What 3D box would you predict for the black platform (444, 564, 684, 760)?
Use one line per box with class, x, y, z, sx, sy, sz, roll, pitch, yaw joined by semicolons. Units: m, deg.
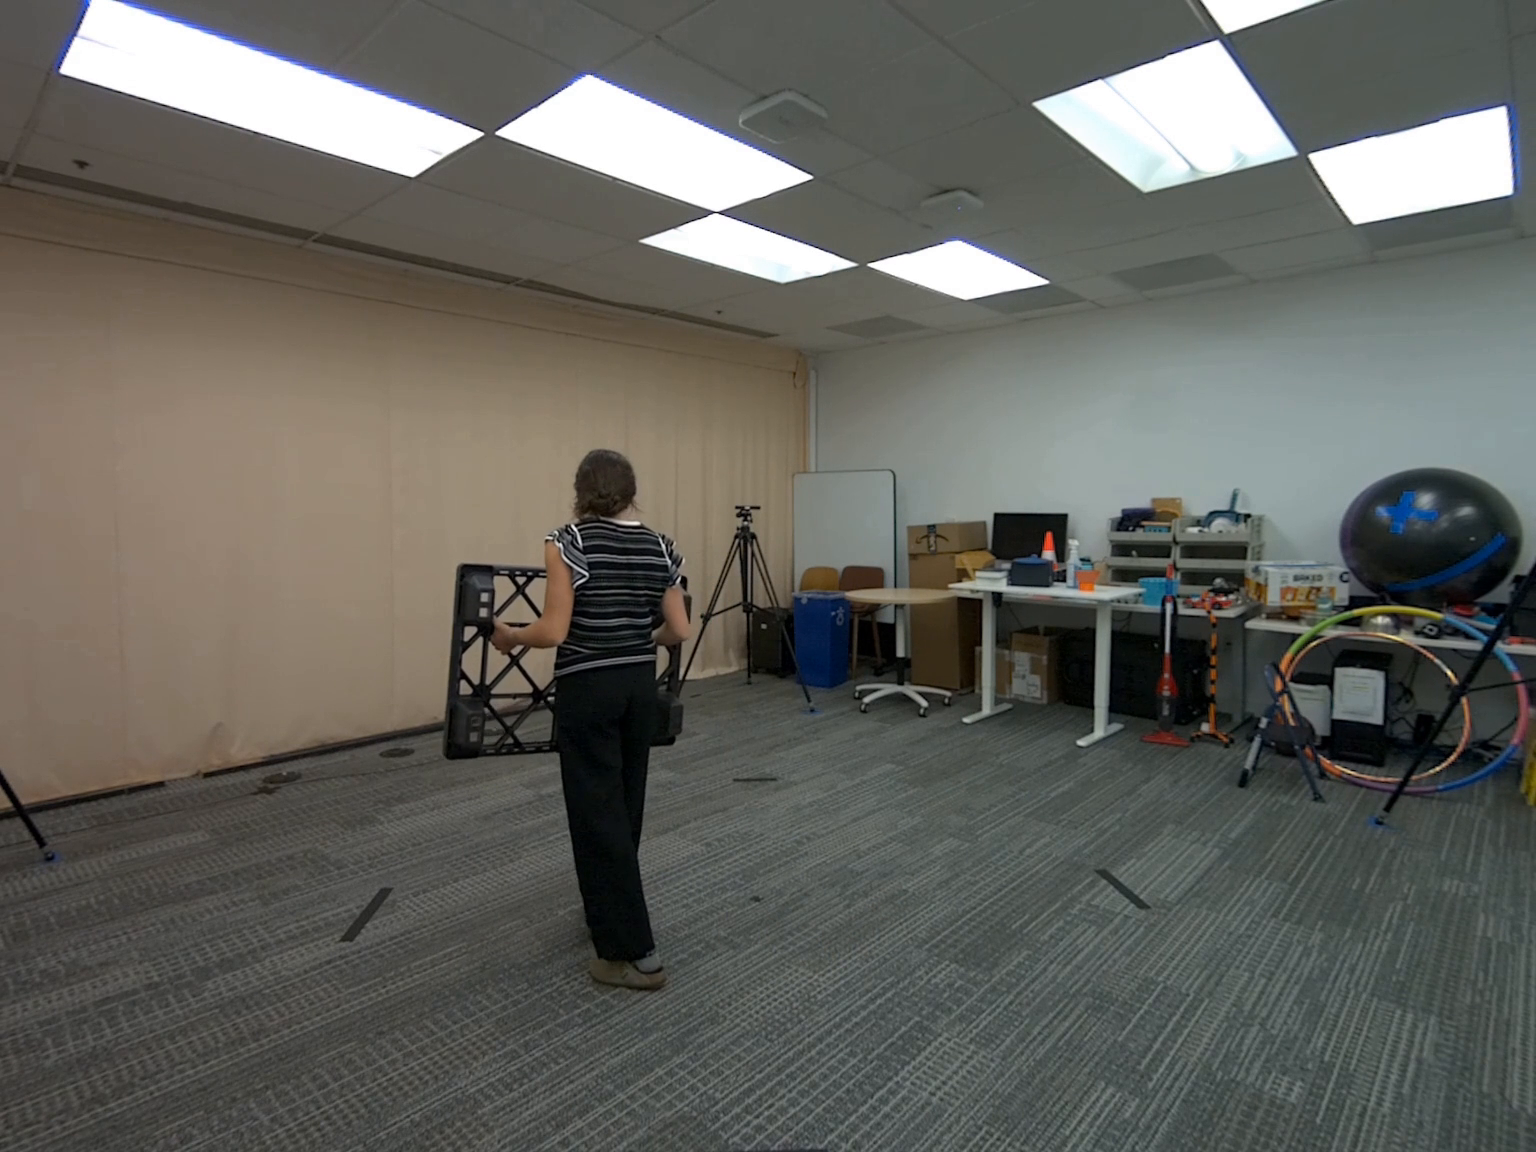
black platform;-0.609;0.280;2.728;0.781;0.605;0.148;4;1;-32
